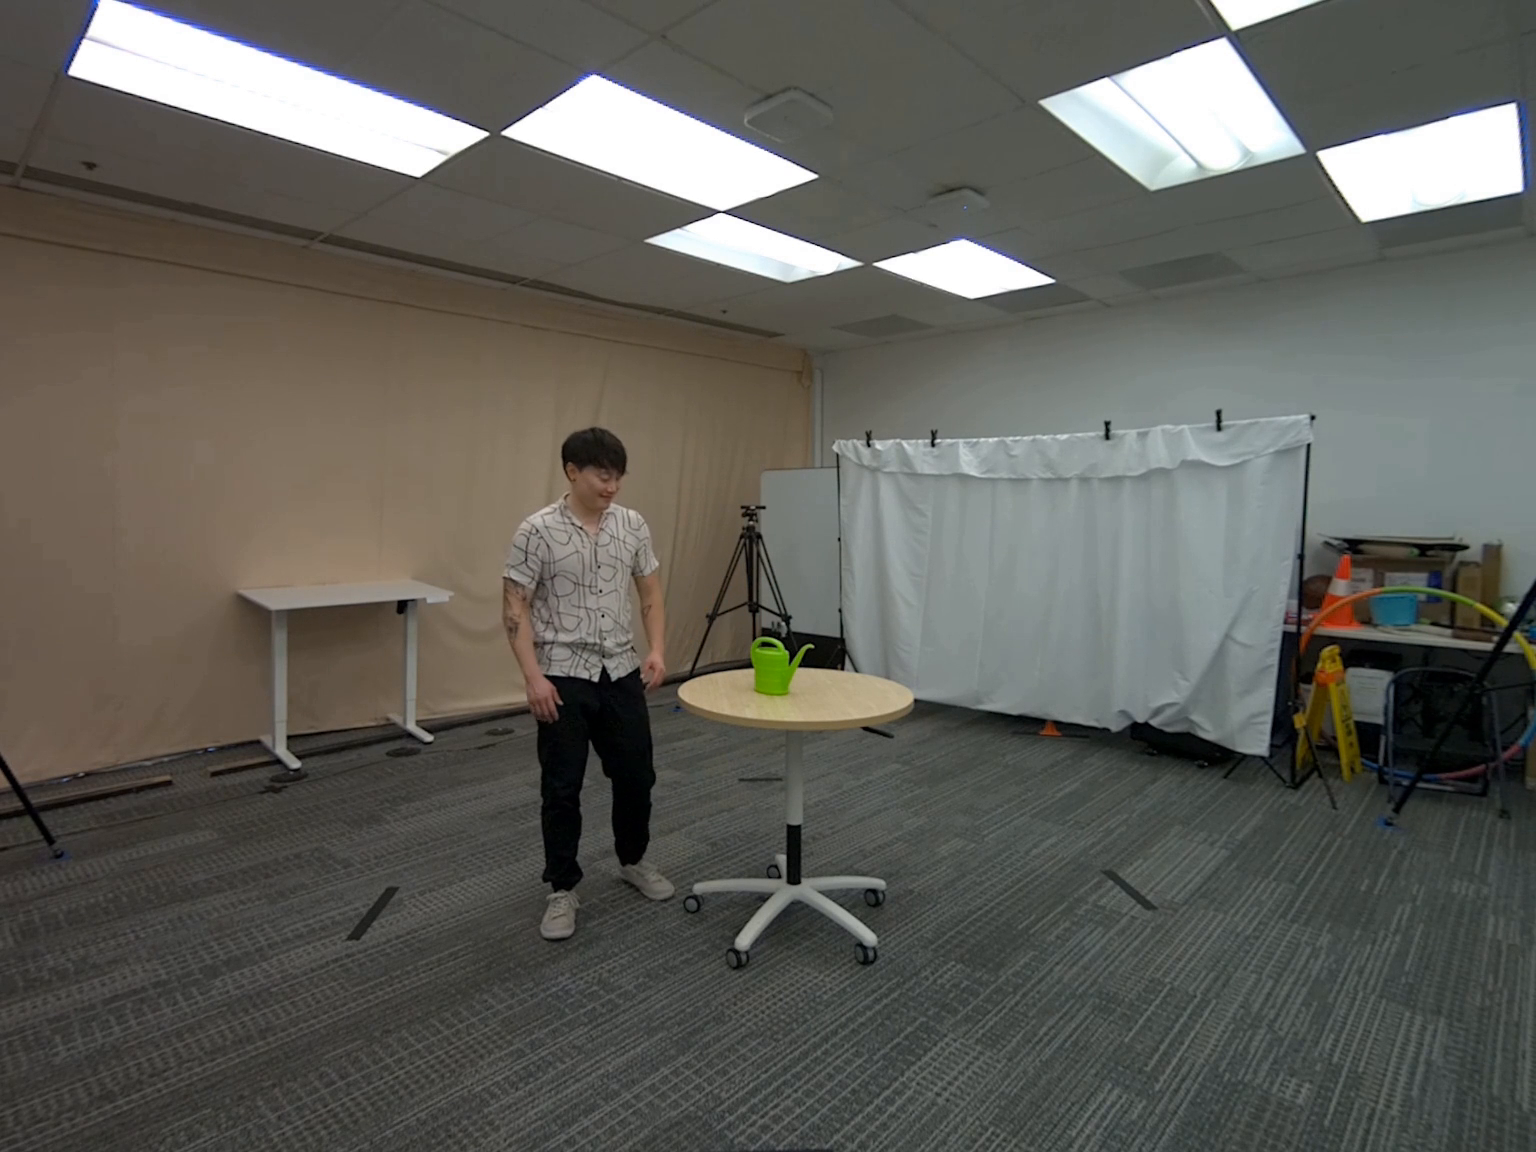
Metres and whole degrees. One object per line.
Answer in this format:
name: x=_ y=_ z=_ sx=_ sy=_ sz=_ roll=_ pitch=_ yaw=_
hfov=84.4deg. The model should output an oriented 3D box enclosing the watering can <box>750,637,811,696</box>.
watering can: x=0.036 y=0.295 z=2.706 sx=0.095 sy=0.176 sz=0.286 roll=-3 pitch=3 yaw=-29
